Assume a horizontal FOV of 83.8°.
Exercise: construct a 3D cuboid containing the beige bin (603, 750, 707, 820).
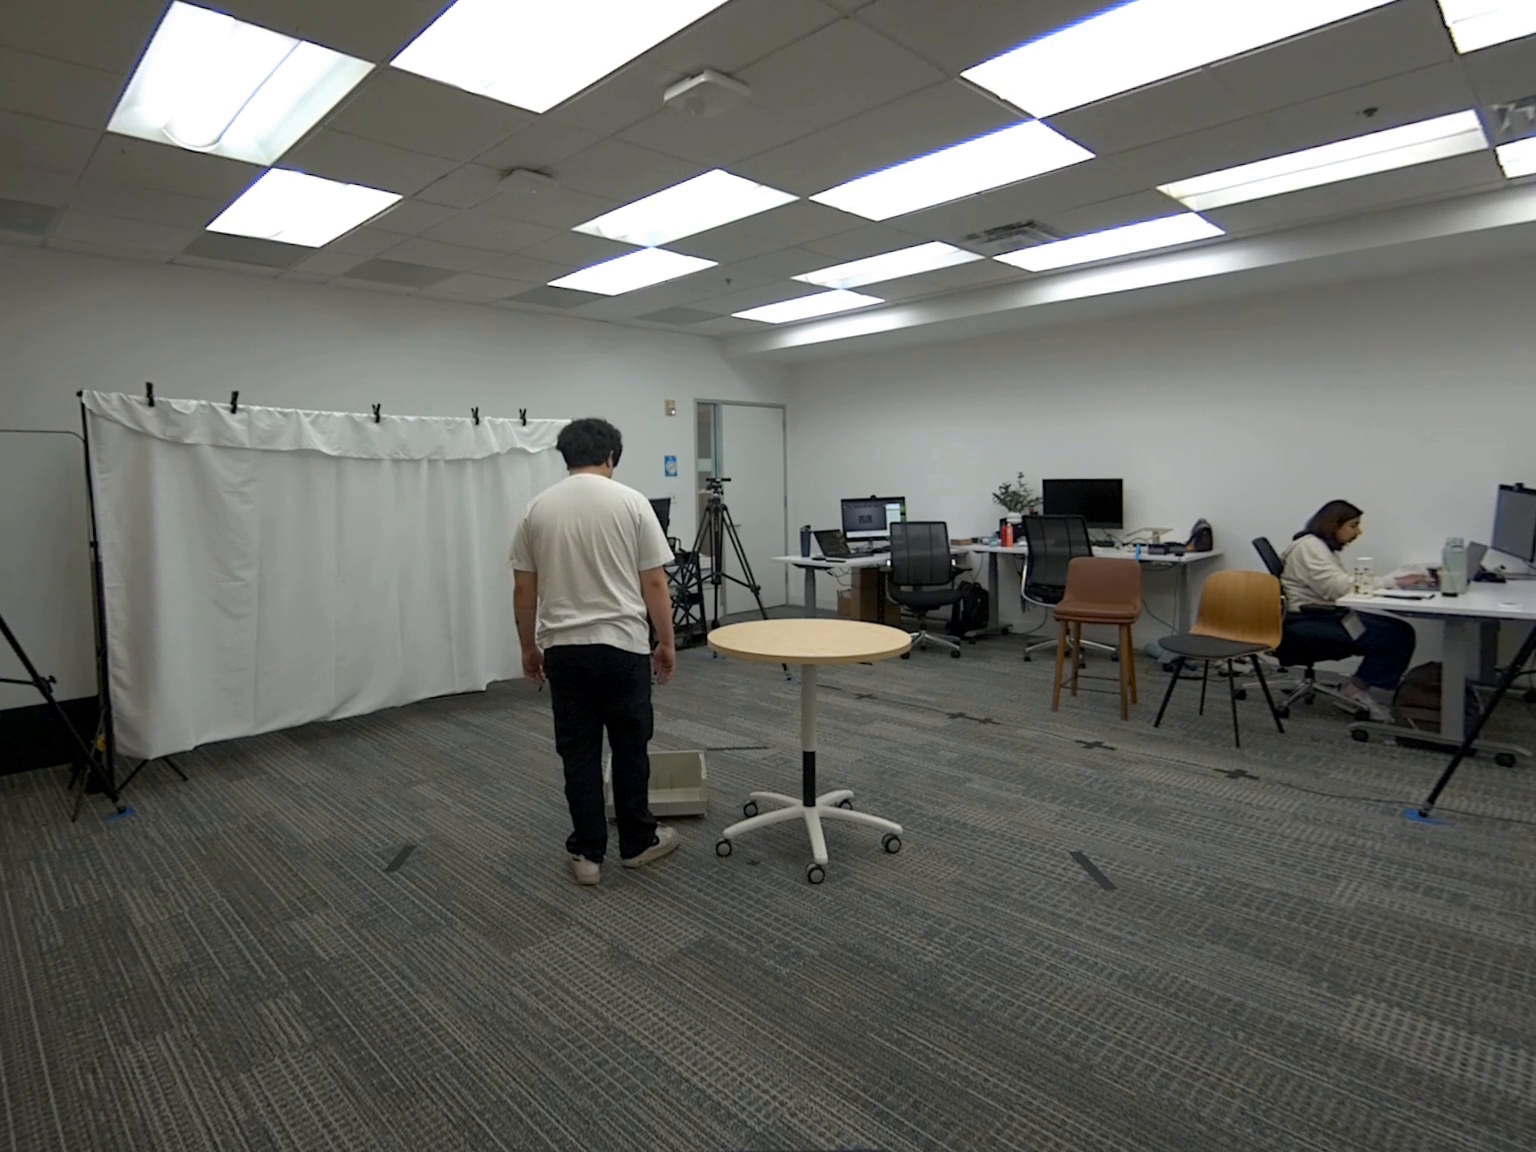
[{"bbox_3d":[-0.474,0.903,3.657,0.420,0.188,0.381,-2,5,-5],"label":"beige bin"}]
